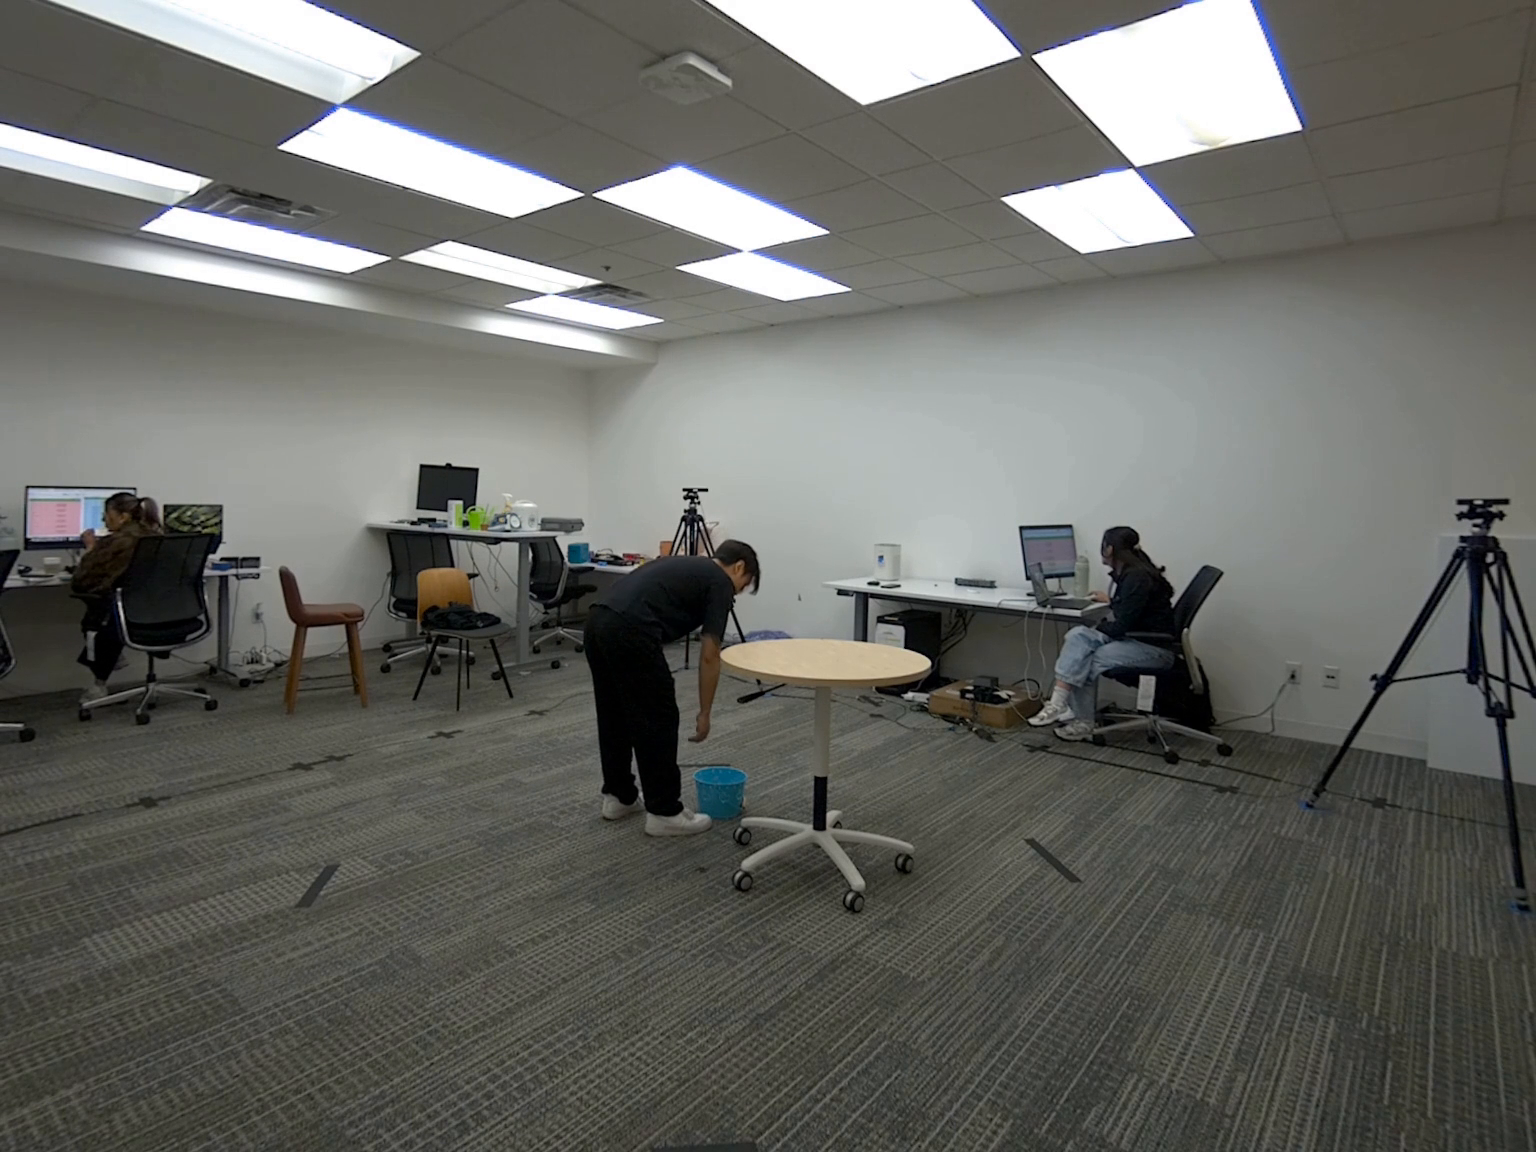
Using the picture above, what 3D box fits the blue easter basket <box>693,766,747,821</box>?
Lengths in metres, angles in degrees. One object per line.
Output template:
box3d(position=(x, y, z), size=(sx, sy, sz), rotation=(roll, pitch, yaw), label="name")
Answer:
box3d(position=(-0.214, 0.937, 3.683), size=(0.243, 0.155, 0.245), rotation=(1, 6, -2), label="blue easter basket")
